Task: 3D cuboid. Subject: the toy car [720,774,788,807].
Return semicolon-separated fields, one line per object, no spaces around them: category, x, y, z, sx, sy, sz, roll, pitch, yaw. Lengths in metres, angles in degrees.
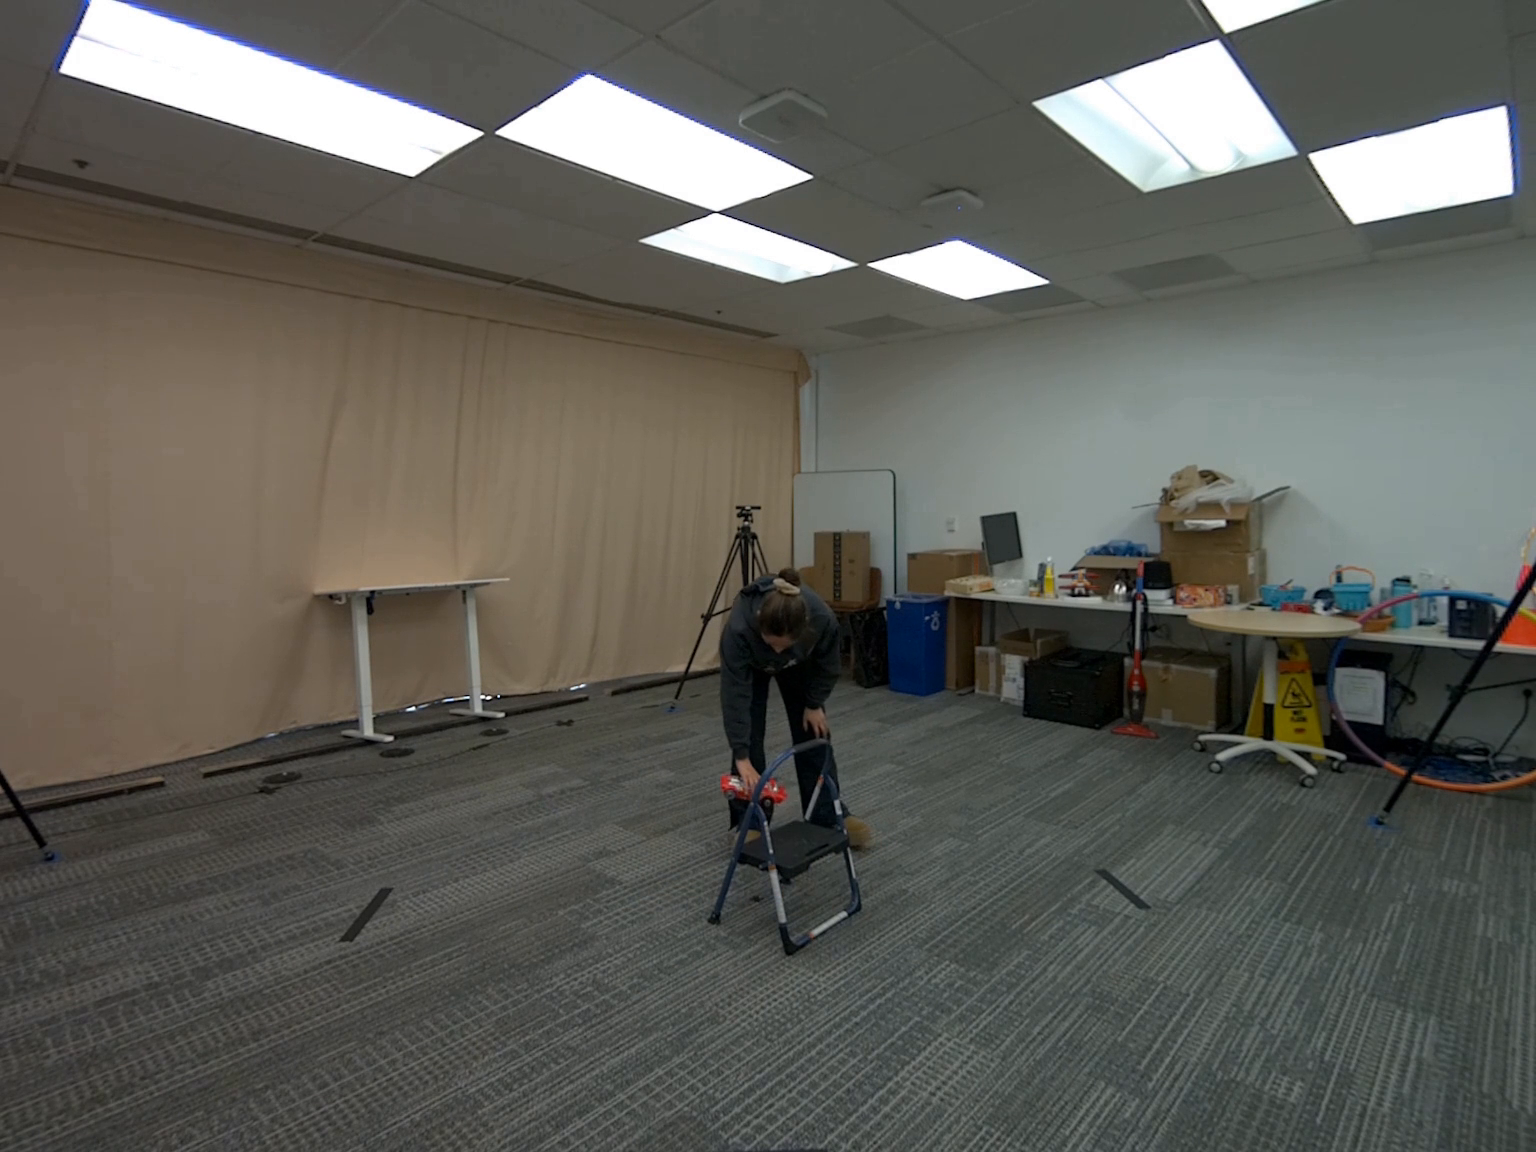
toy car;-0.027;0.812;3.173;0.253;0.082;0.132;2;13;-4
